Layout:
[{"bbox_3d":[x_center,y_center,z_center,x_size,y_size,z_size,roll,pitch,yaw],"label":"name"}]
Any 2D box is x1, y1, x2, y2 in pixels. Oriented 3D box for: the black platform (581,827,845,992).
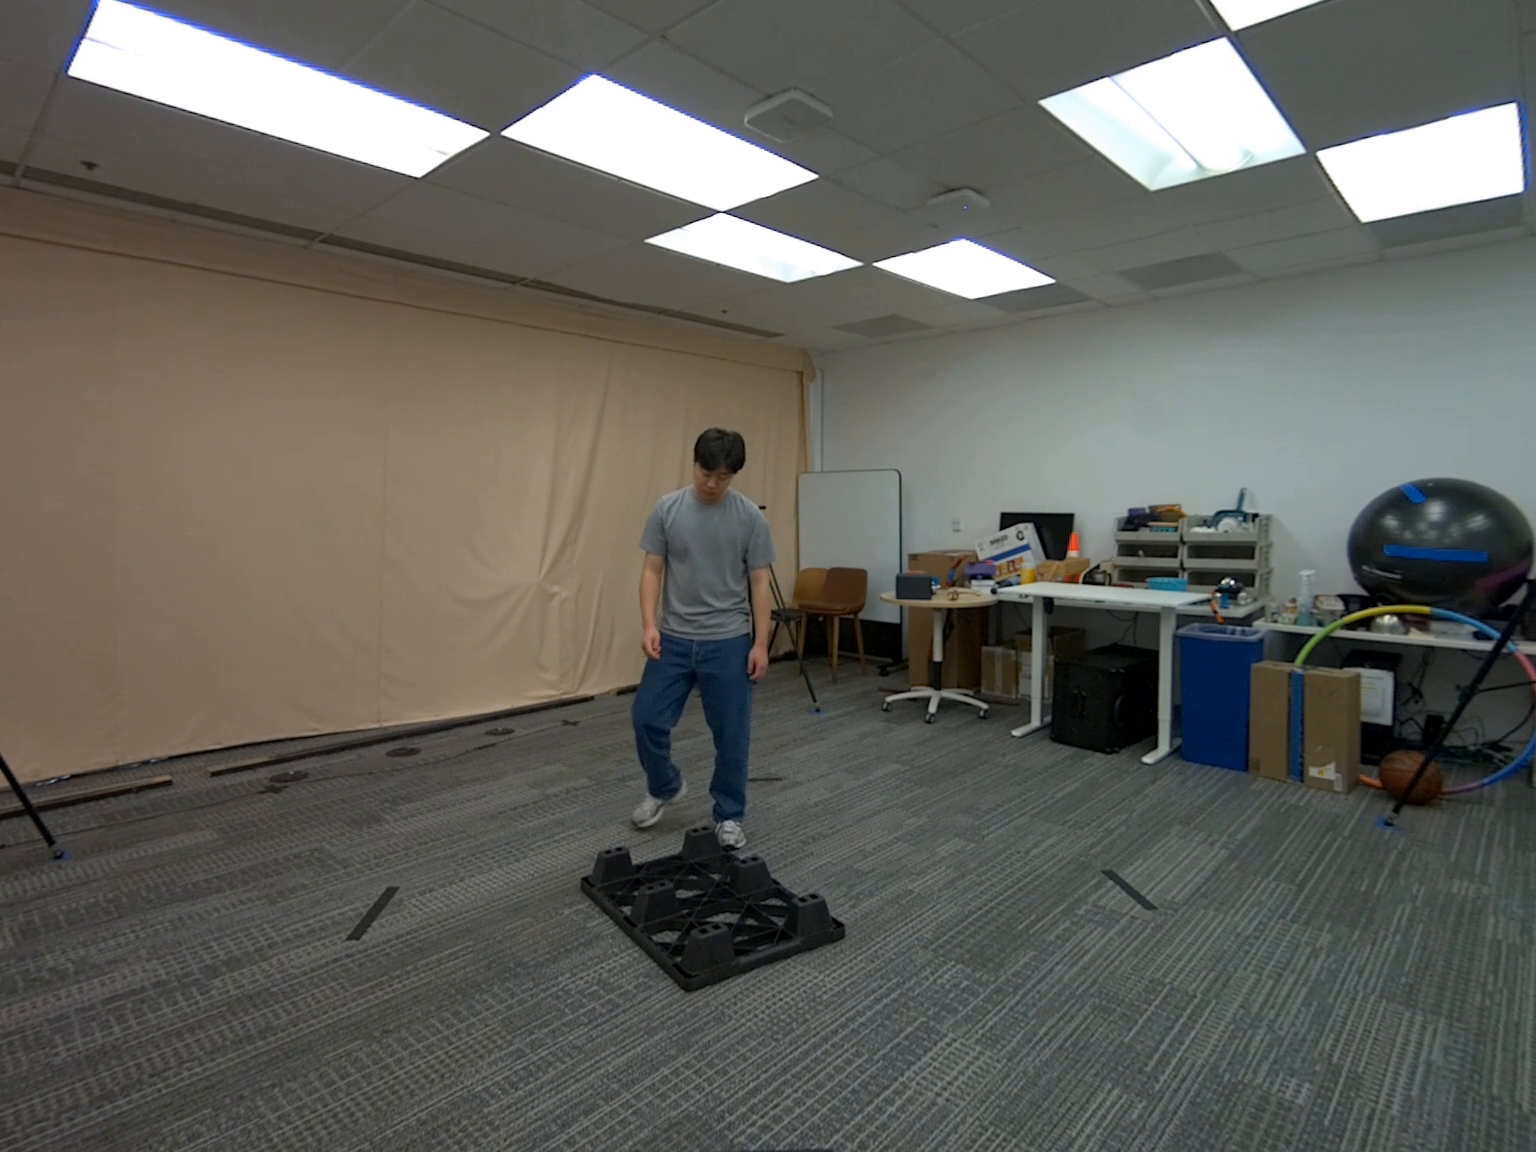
[{"bbox_3d":[-0.211,1.088,2.887,0.588,0.143,0.831,-4,6,-34],"label":"black platform"}]
